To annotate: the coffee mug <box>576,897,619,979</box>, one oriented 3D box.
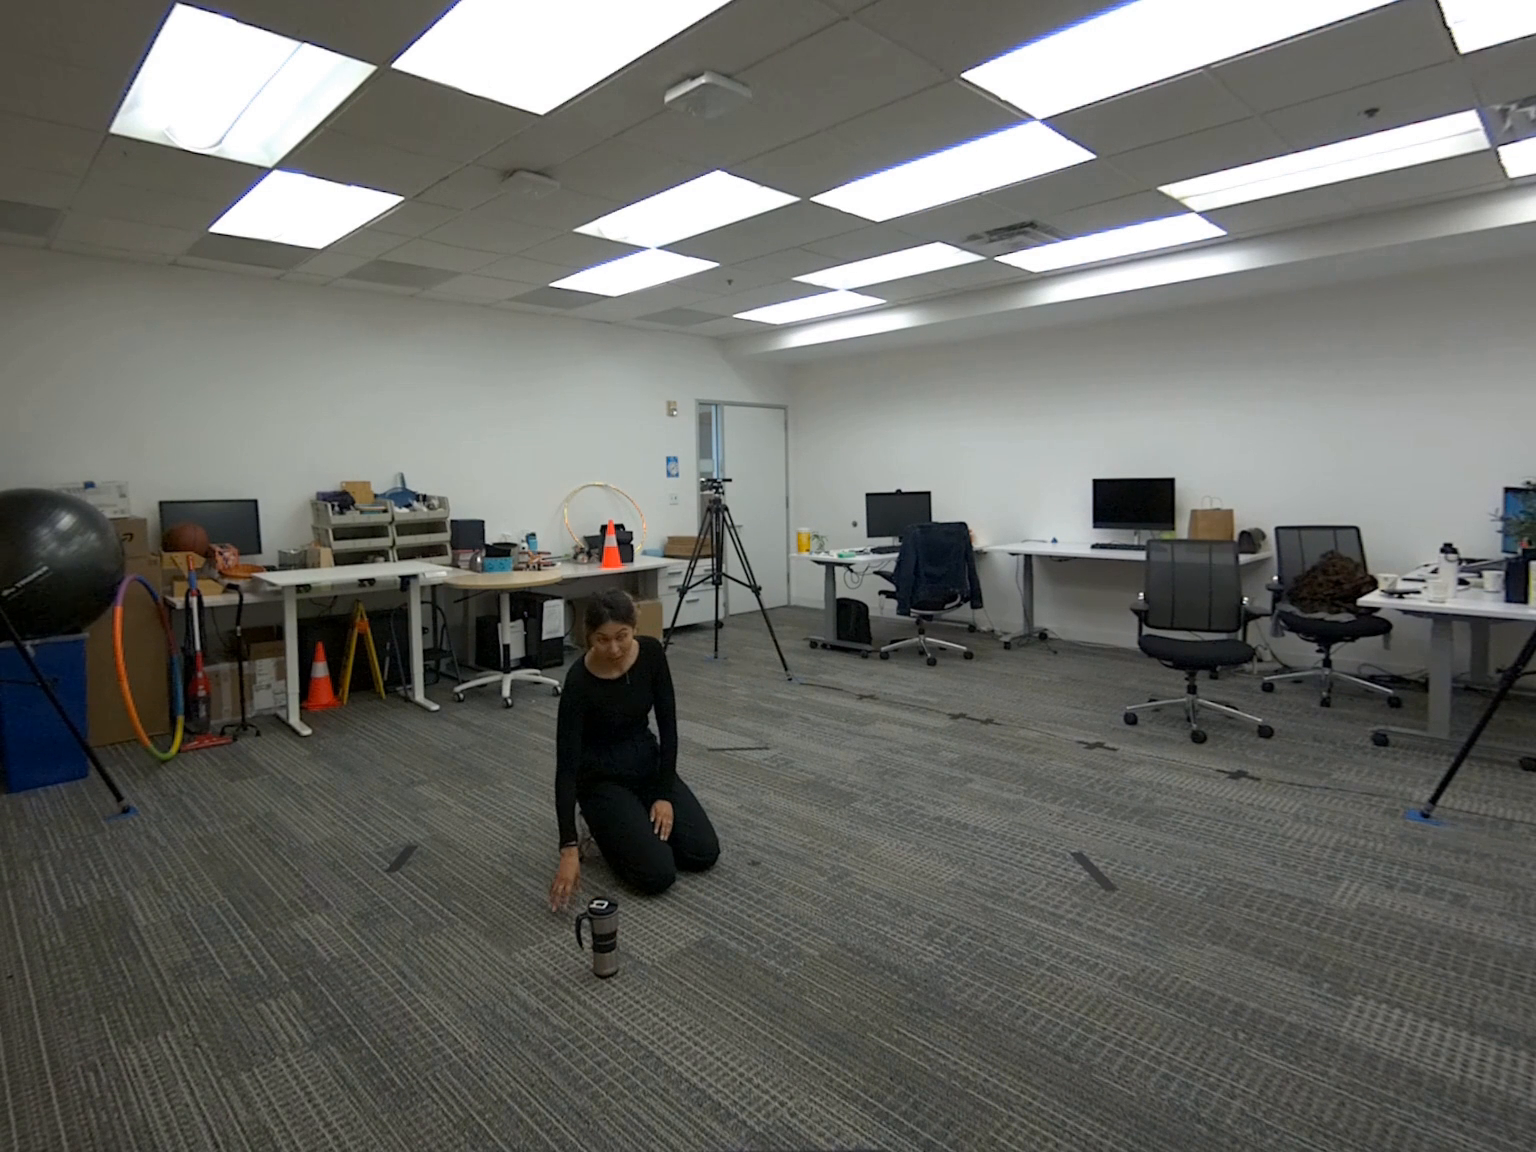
[{"bbox_3d":[-0.488,1.039,2.433,0.121,0.202,0.089,0,6,-8],"label":"coffee mug"}]
